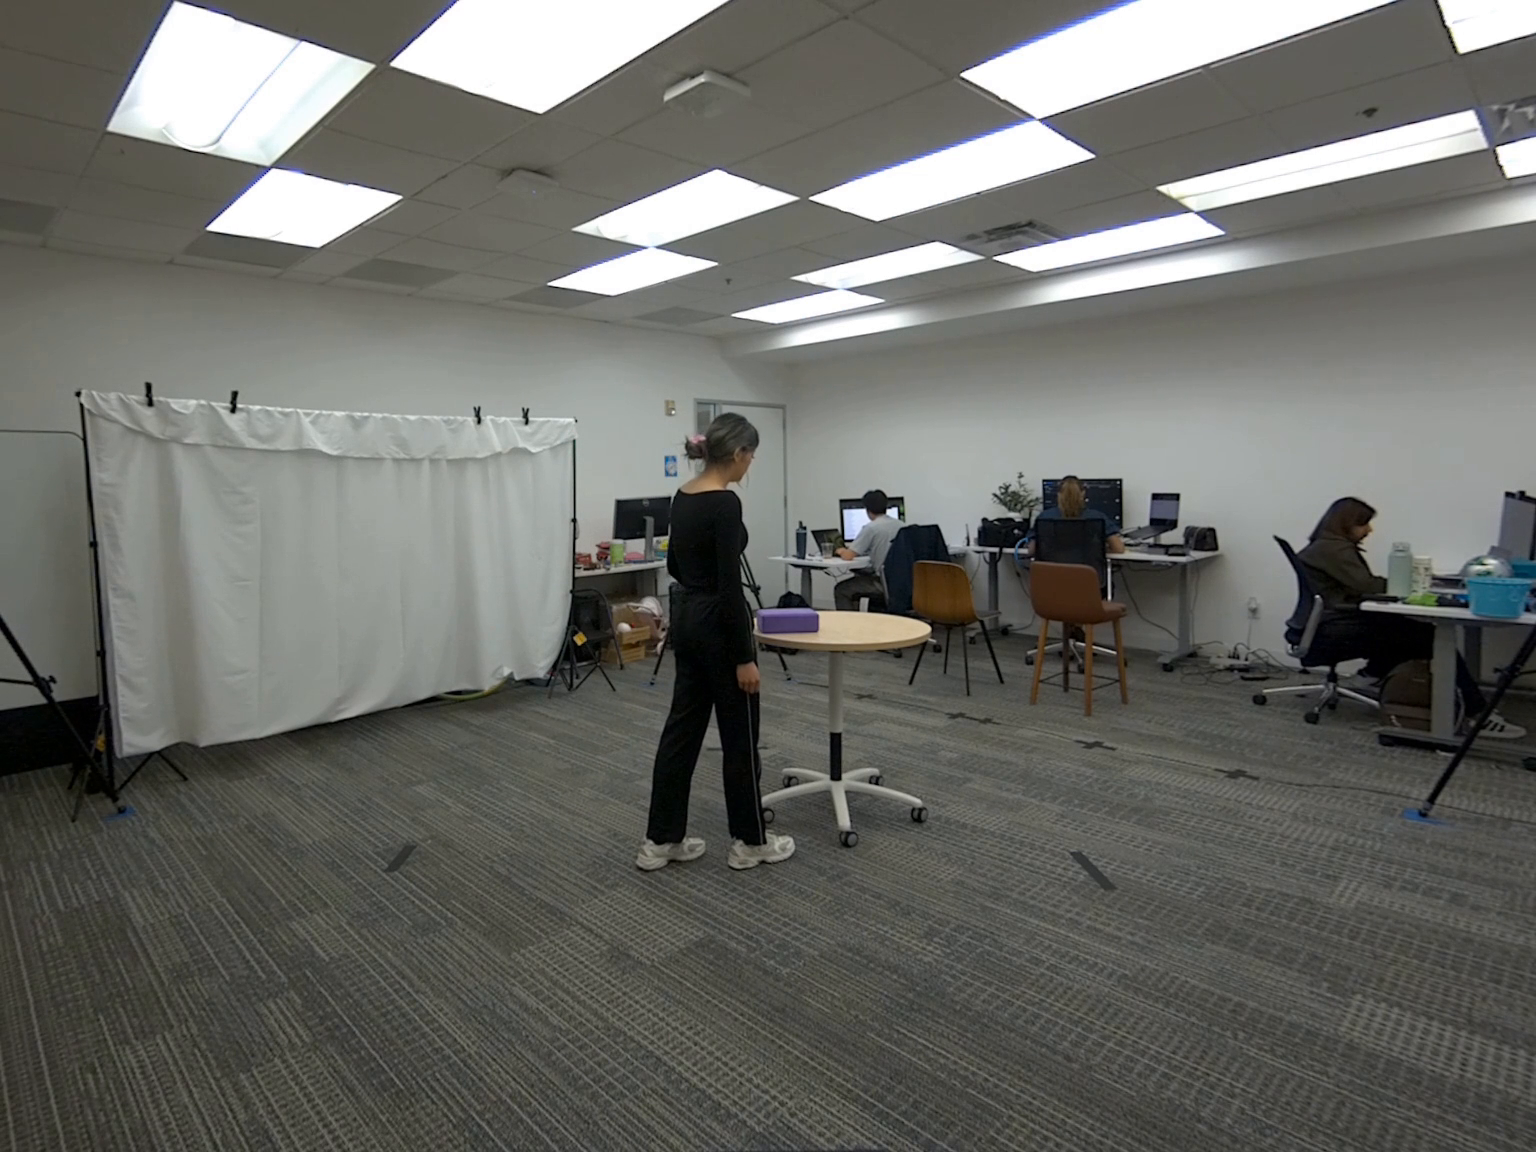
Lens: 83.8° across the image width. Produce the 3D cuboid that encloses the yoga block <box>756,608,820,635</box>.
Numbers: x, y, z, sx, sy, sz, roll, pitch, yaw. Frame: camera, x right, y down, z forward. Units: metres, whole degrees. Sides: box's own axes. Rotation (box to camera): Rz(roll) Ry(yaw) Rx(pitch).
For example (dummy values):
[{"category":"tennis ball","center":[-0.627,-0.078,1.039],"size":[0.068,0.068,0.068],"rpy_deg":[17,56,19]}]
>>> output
[{"category":"yoga block","center":[0.081,0.178,3.421],"size":[0.228,0.076,0.150],"rpy_deg":[-2,5,-5]}]
